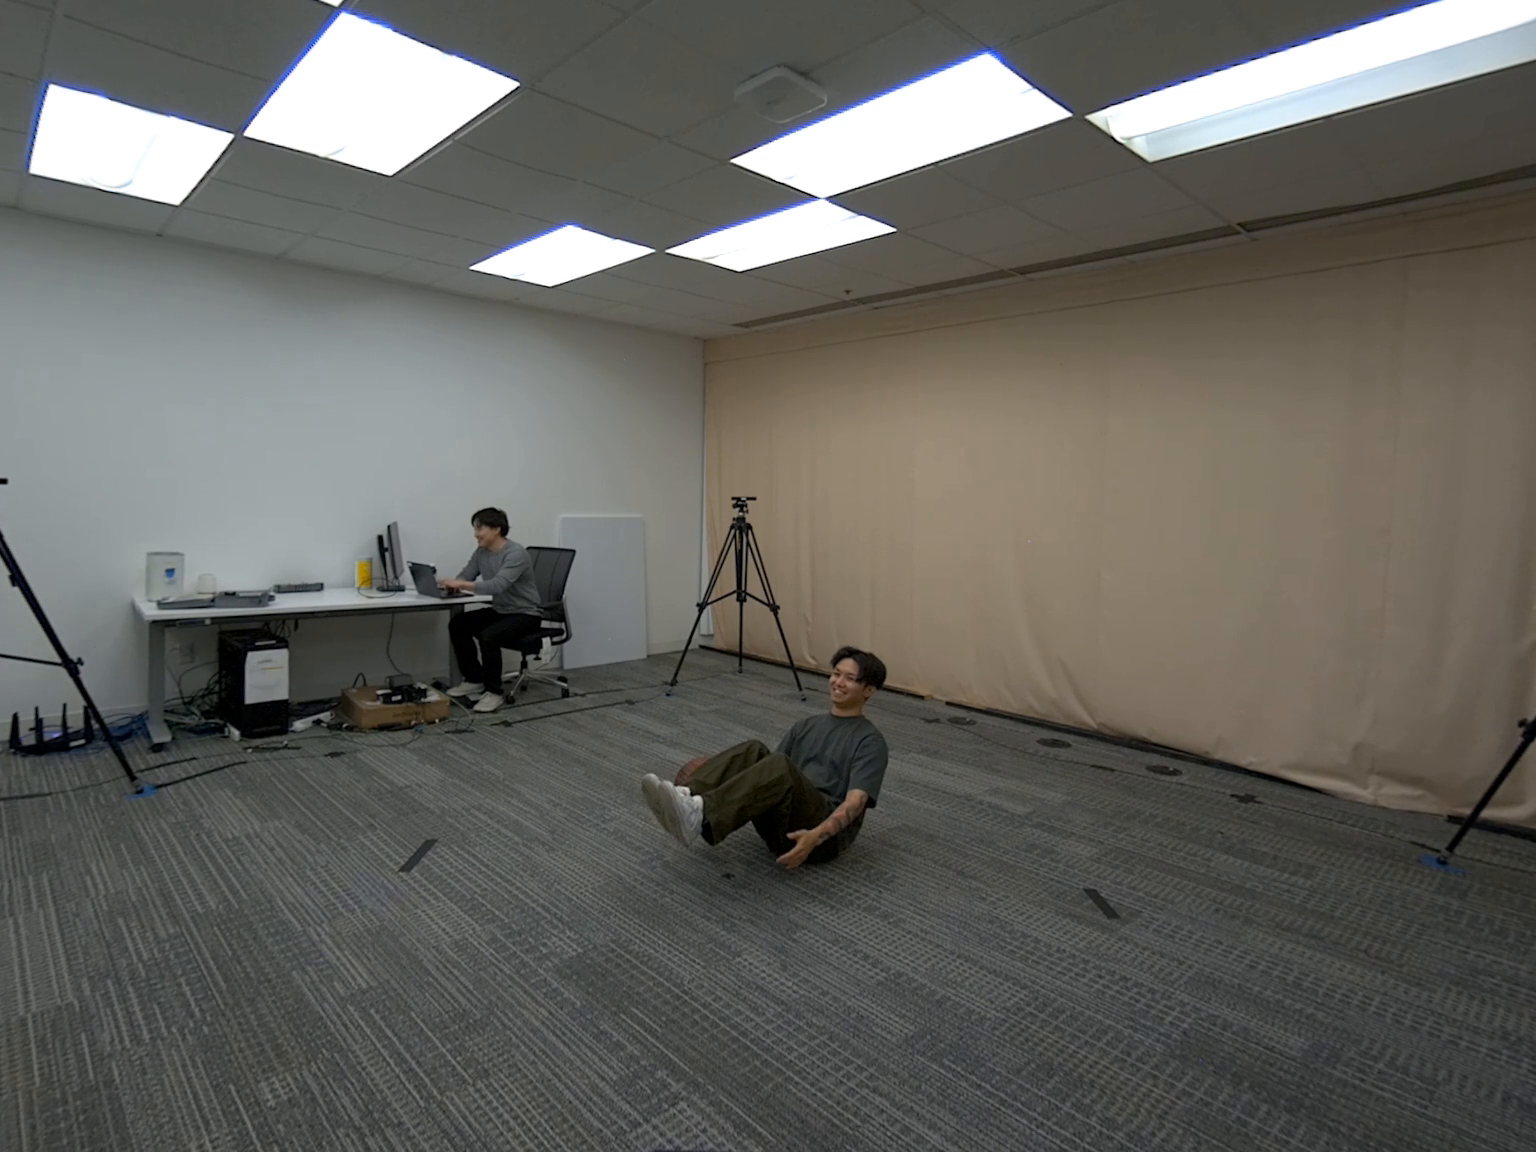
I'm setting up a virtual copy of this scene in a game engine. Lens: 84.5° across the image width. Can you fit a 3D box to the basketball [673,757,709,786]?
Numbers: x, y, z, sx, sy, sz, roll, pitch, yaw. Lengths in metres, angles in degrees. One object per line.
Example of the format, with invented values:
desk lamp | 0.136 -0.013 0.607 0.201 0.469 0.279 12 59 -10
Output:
basketball | -0.247 0.826 3.295 0.236 0.235 0.237 1 4 -1
